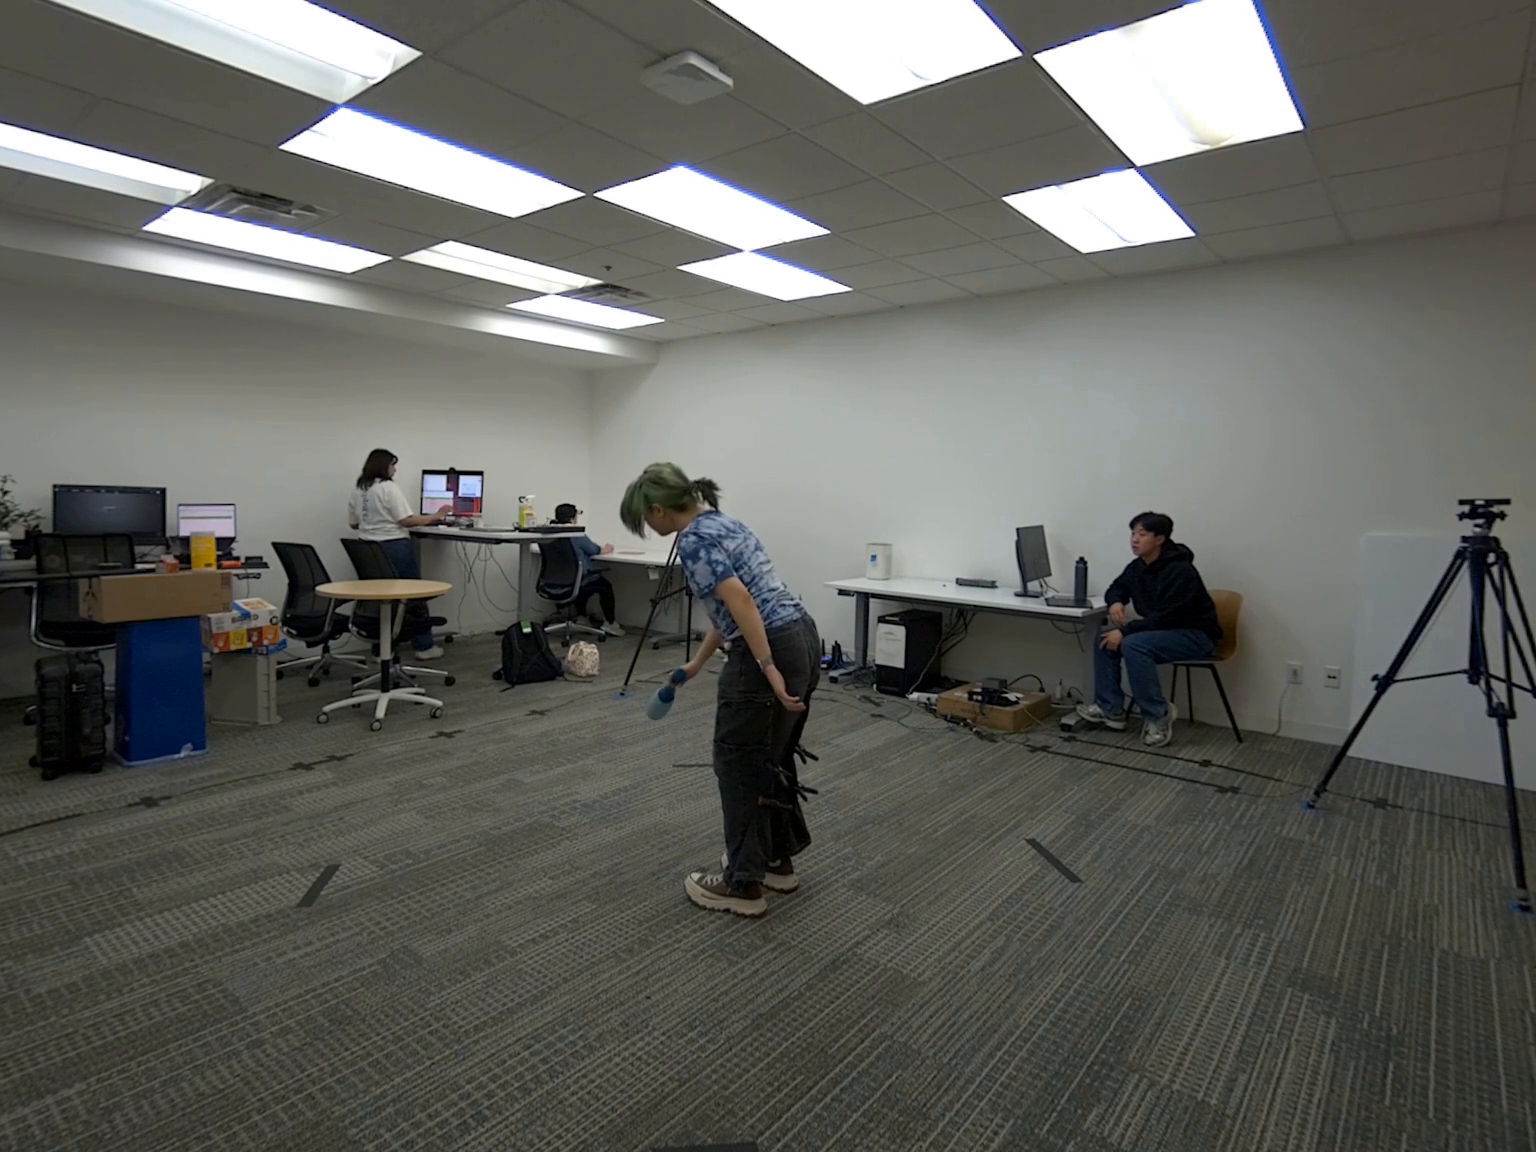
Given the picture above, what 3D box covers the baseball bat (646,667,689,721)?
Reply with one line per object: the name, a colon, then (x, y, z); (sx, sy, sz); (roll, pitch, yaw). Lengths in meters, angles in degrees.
baseball bat: (-0.415, 0.464, 3.311); (0.087, 0.091, 0.540); (0, -22, -18)
